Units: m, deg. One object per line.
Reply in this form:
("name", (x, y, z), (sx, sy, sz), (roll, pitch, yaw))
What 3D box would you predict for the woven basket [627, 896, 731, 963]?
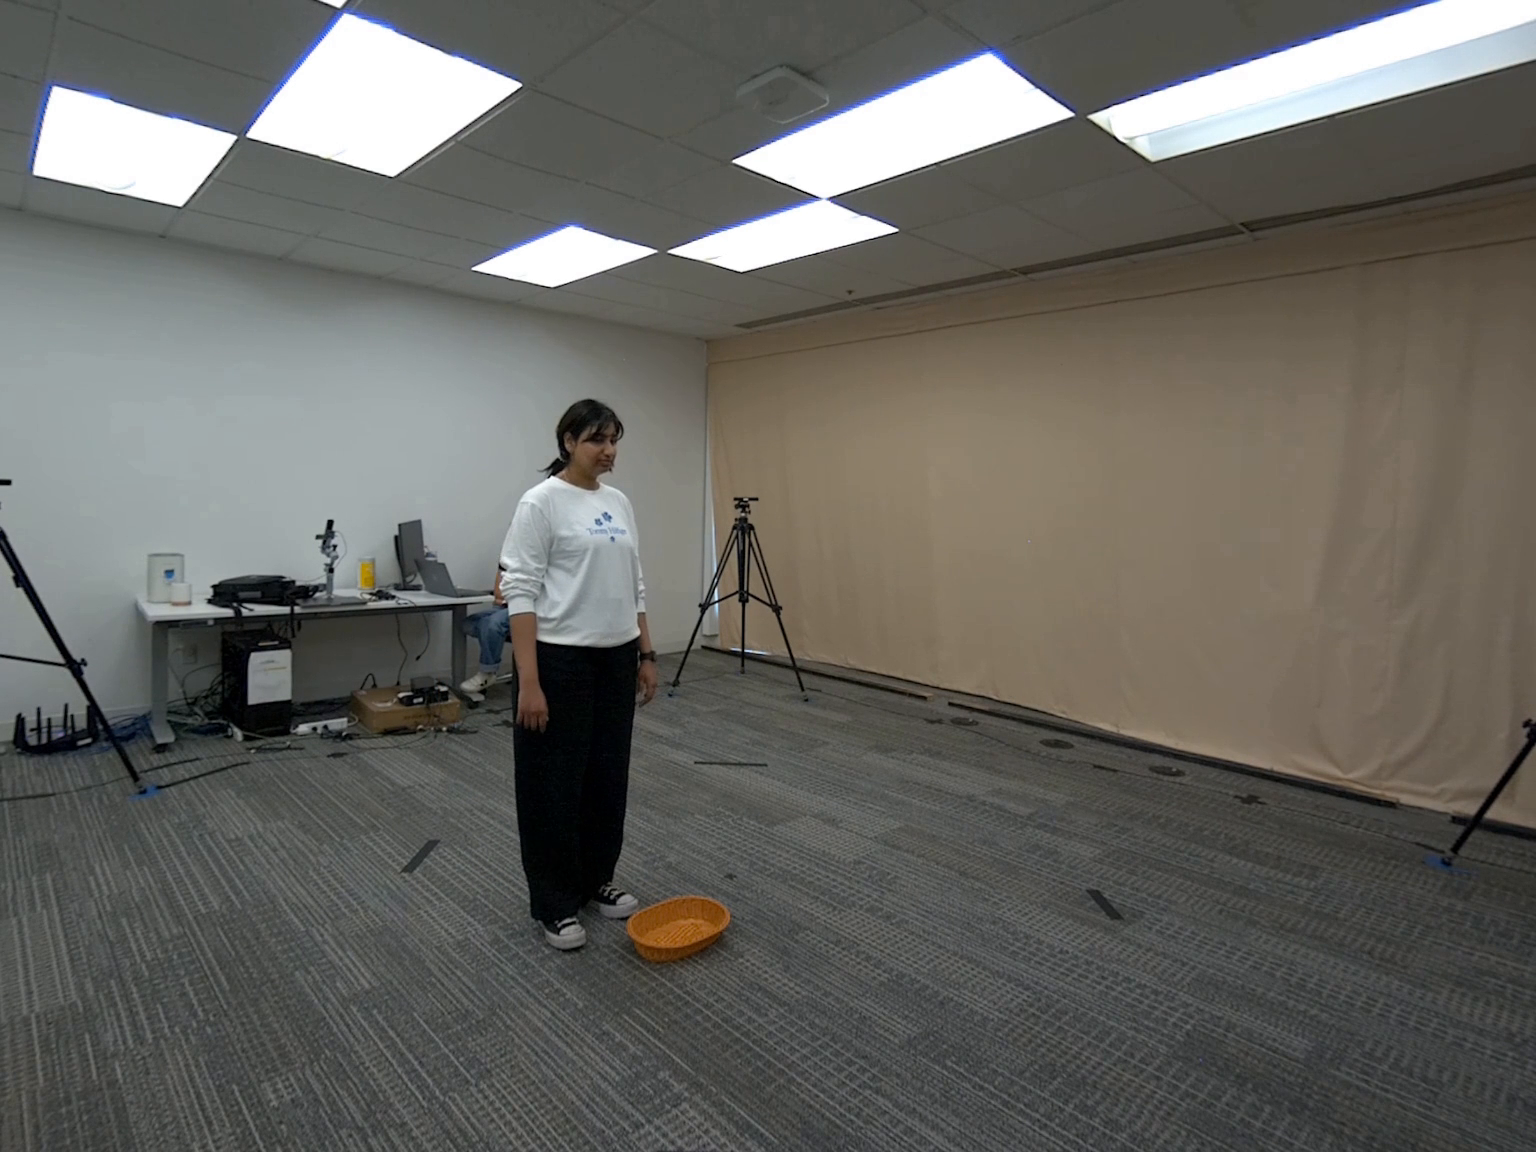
("woven basket", (-0.287, 1.108, 2.632), (0.342, 0.073, 0.259), (-3, 8, -43))
